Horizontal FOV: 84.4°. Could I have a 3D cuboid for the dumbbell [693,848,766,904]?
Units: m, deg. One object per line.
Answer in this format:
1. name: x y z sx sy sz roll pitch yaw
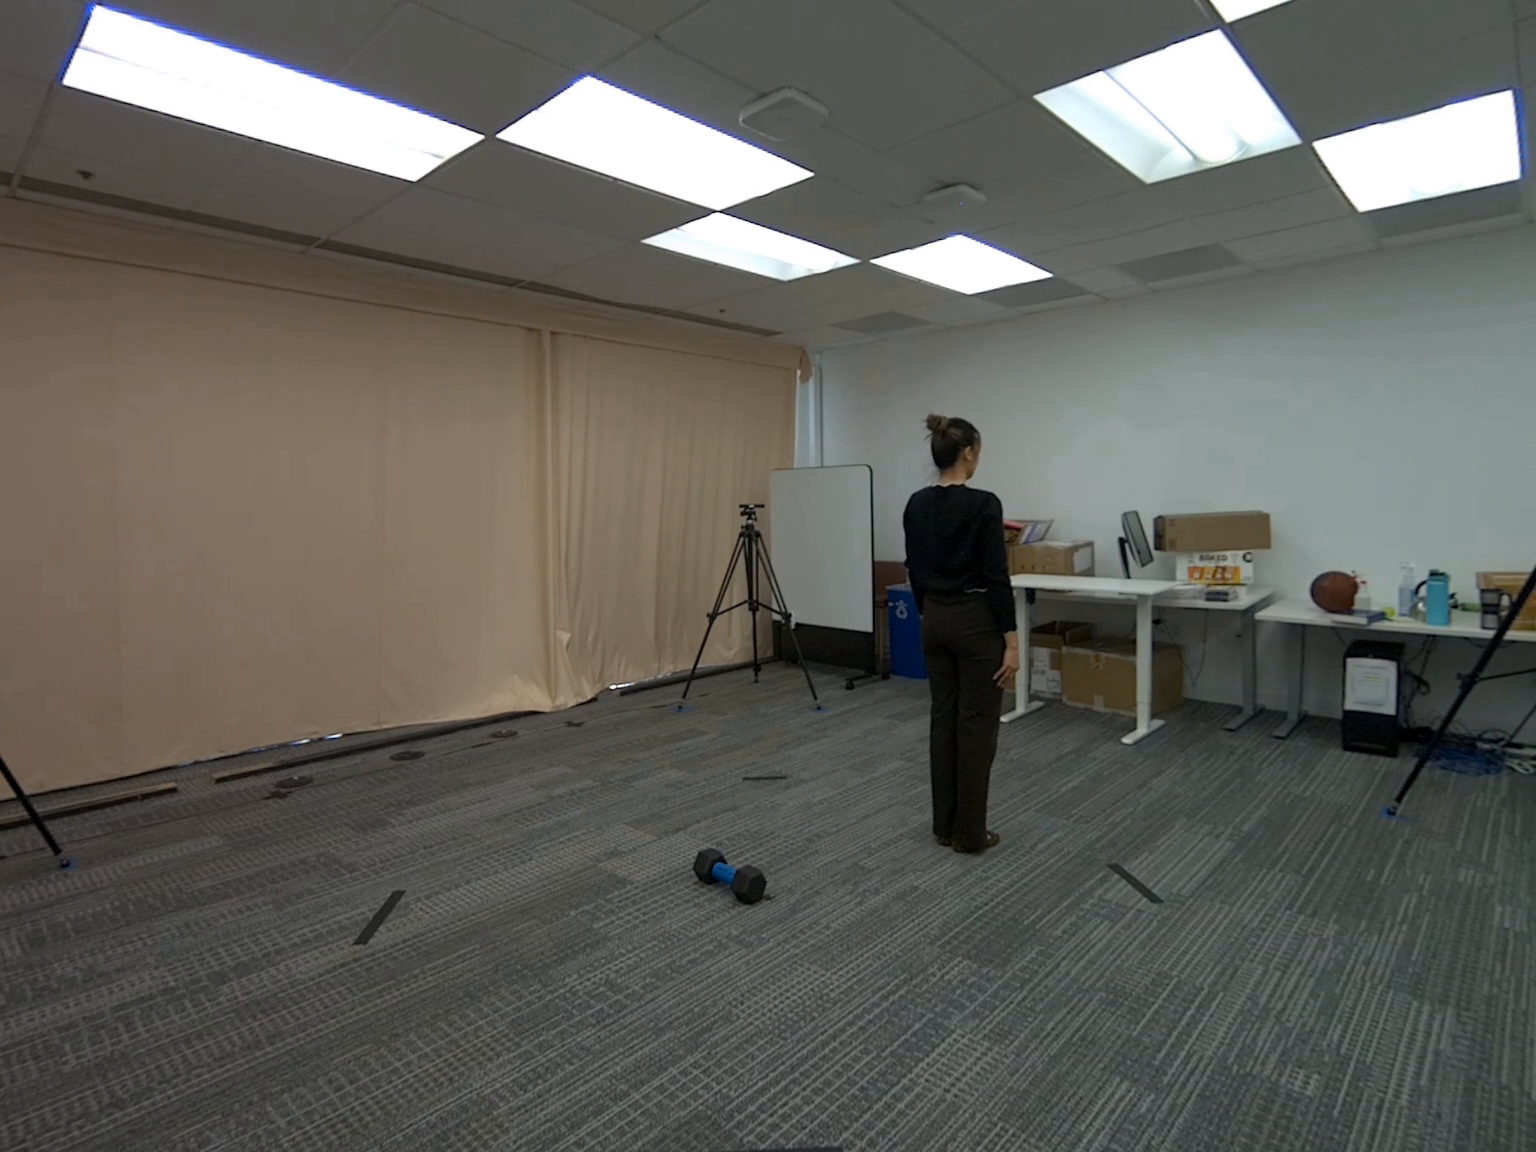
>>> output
1. dumbbell: -0.137 1.082 3.045 0.119 0.108 0.303 -4 6 -43
